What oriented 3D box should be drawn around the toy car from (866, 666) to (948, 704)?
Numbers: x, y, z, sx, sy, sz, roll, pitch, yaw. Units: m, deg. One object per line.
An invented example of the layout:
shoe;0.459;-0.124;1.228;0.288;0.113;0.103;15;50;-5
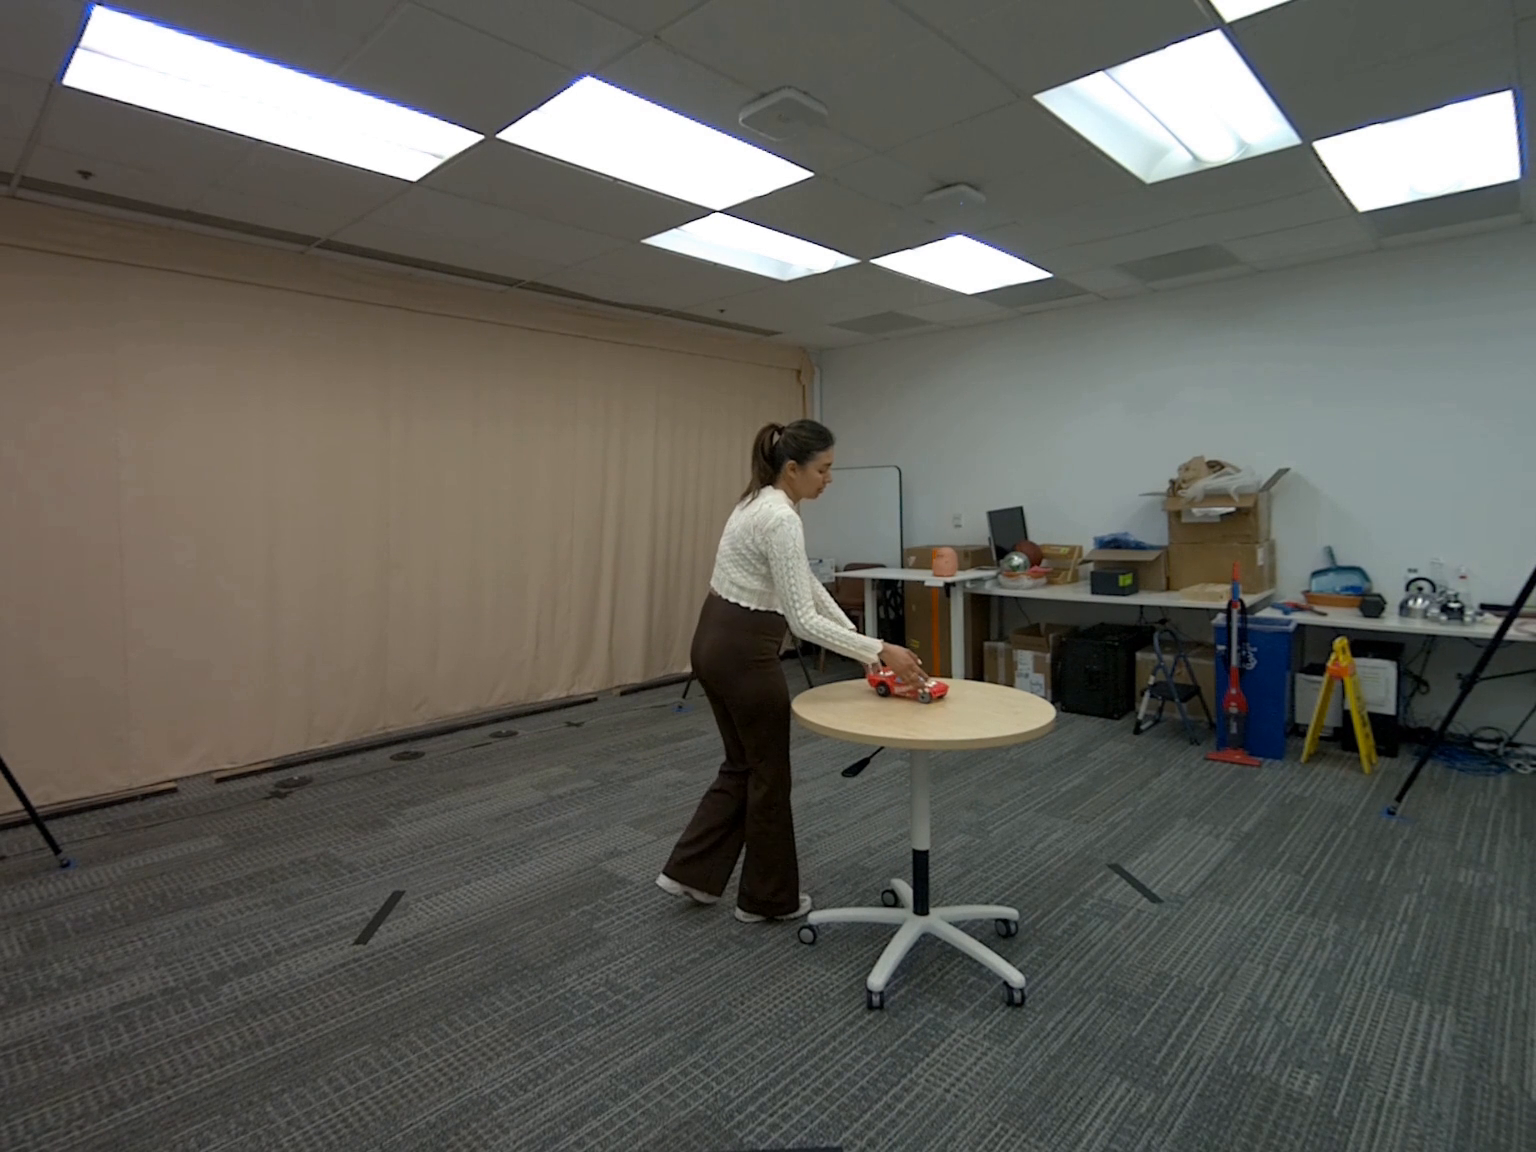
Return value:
toy car;0.439;0.347;2.626;0.263;0.083;0.126;16;14;38
